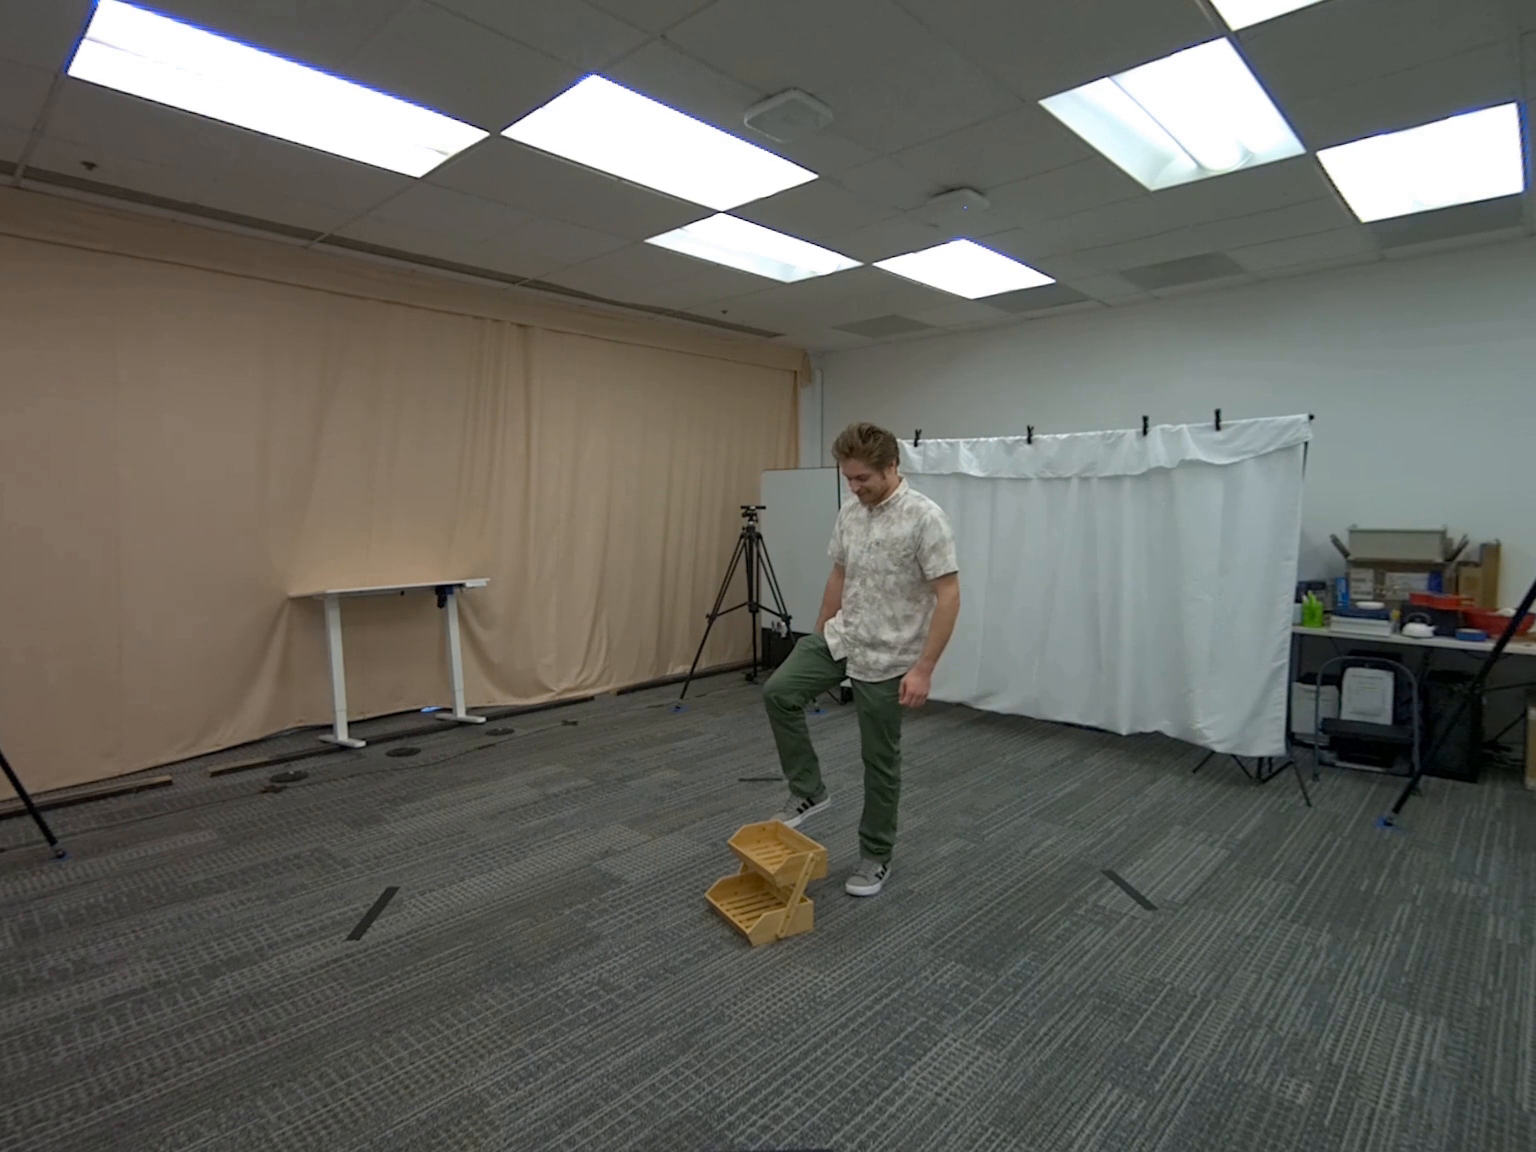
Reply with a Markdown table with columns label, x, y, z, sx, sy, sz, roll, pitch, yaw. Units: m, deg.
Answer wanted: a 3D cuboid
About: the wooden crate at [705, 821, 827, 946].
| label | x | y | z | sx | sy | sz | roll | pitch | yaw |
| --- | --- | --- | --- | --- | --- | --- | --- | --- | --- |
| wooden crate | -0.015 | 1.023 | 2.841 | 0.294 | 0.273 | 0.334 | -1 | 4 | -30 |
